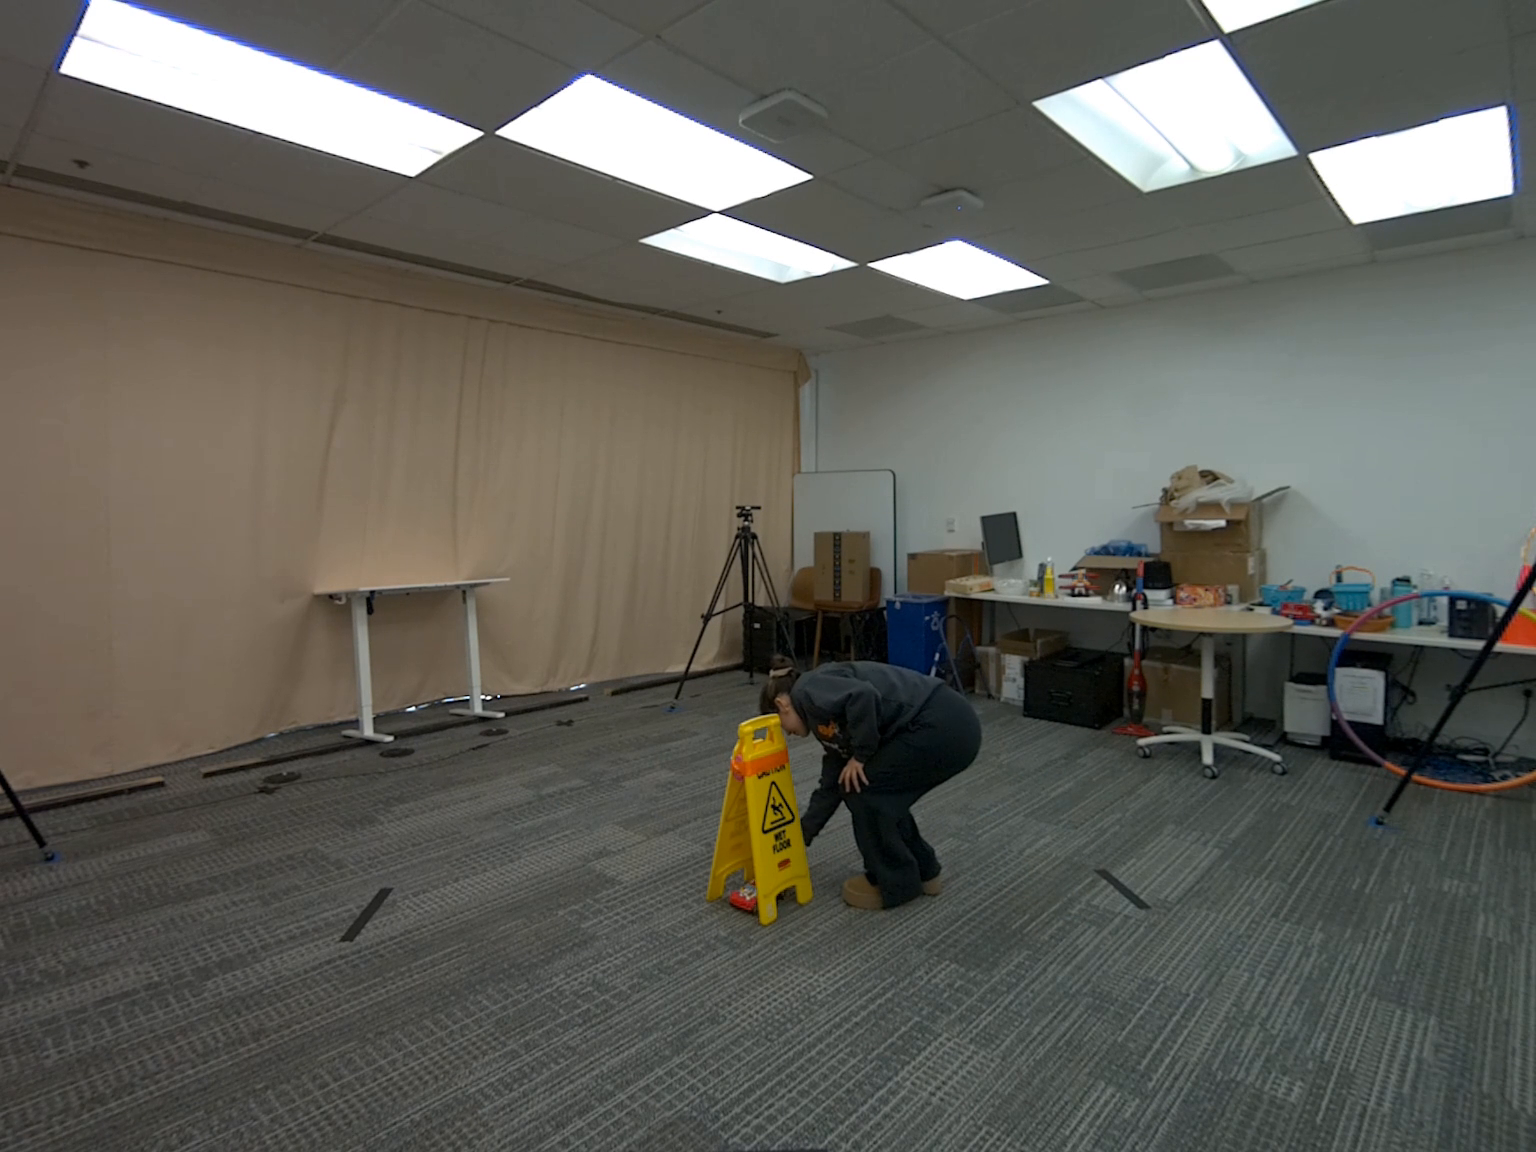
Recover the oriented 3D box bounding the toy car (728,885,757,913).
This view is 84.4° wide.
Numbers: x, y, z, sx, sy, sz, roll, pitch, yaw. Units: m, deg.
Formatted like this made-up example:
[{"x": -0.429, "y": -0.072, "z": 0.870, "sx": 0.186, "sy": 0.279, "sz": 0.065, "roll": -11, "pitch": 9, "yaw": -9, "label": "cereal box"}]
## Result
[{"x": 0.014, "y": 1.114, "z": 2.981, "sx": 0.134, "sy": 0.082, "sz": 0.248, "roll": 2, "pitch": 15, "yaw": 41, "label": "toy car"}]
